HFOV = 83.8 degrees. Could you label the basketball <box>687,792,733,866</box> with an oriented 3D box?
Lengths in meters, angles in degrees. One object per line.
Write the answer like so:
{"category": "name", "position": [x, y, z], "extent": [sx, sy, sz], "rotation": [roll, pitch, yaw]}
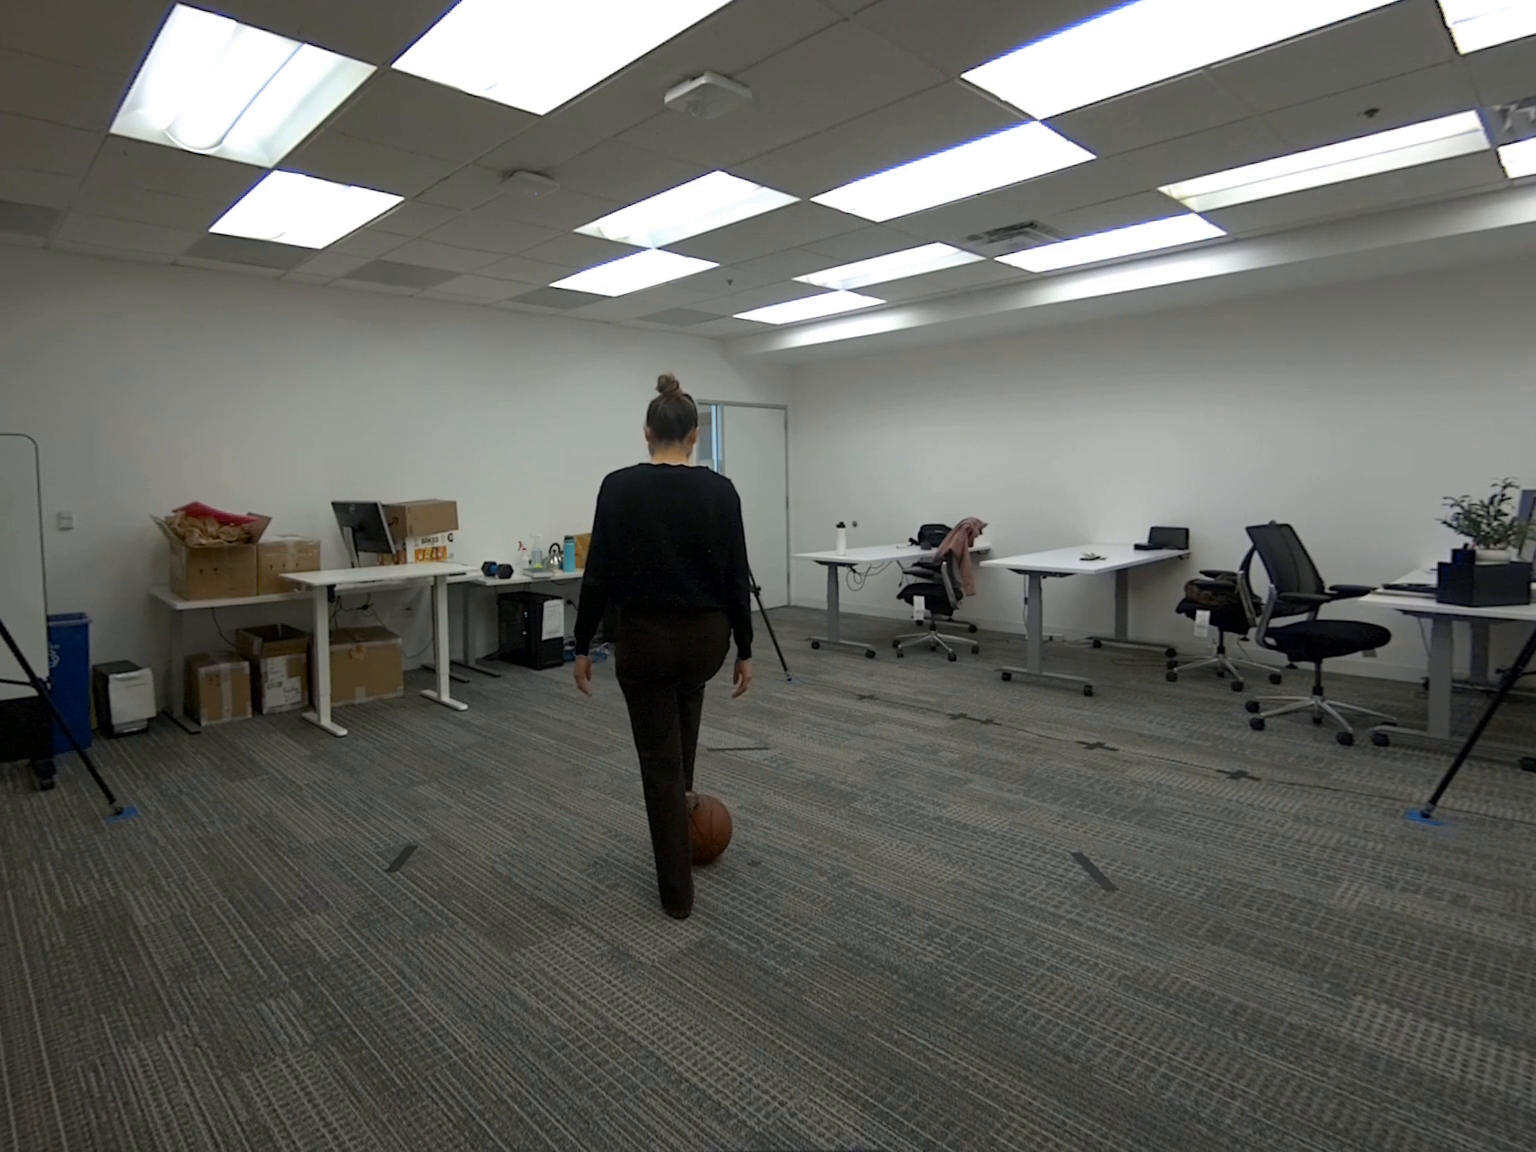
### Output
{"category": "basketball", "position": [-0.243, 0.926, 3.152], "extent": [0.236, 0.235, 0.237], "rotation": [-1, 5, -2]}
